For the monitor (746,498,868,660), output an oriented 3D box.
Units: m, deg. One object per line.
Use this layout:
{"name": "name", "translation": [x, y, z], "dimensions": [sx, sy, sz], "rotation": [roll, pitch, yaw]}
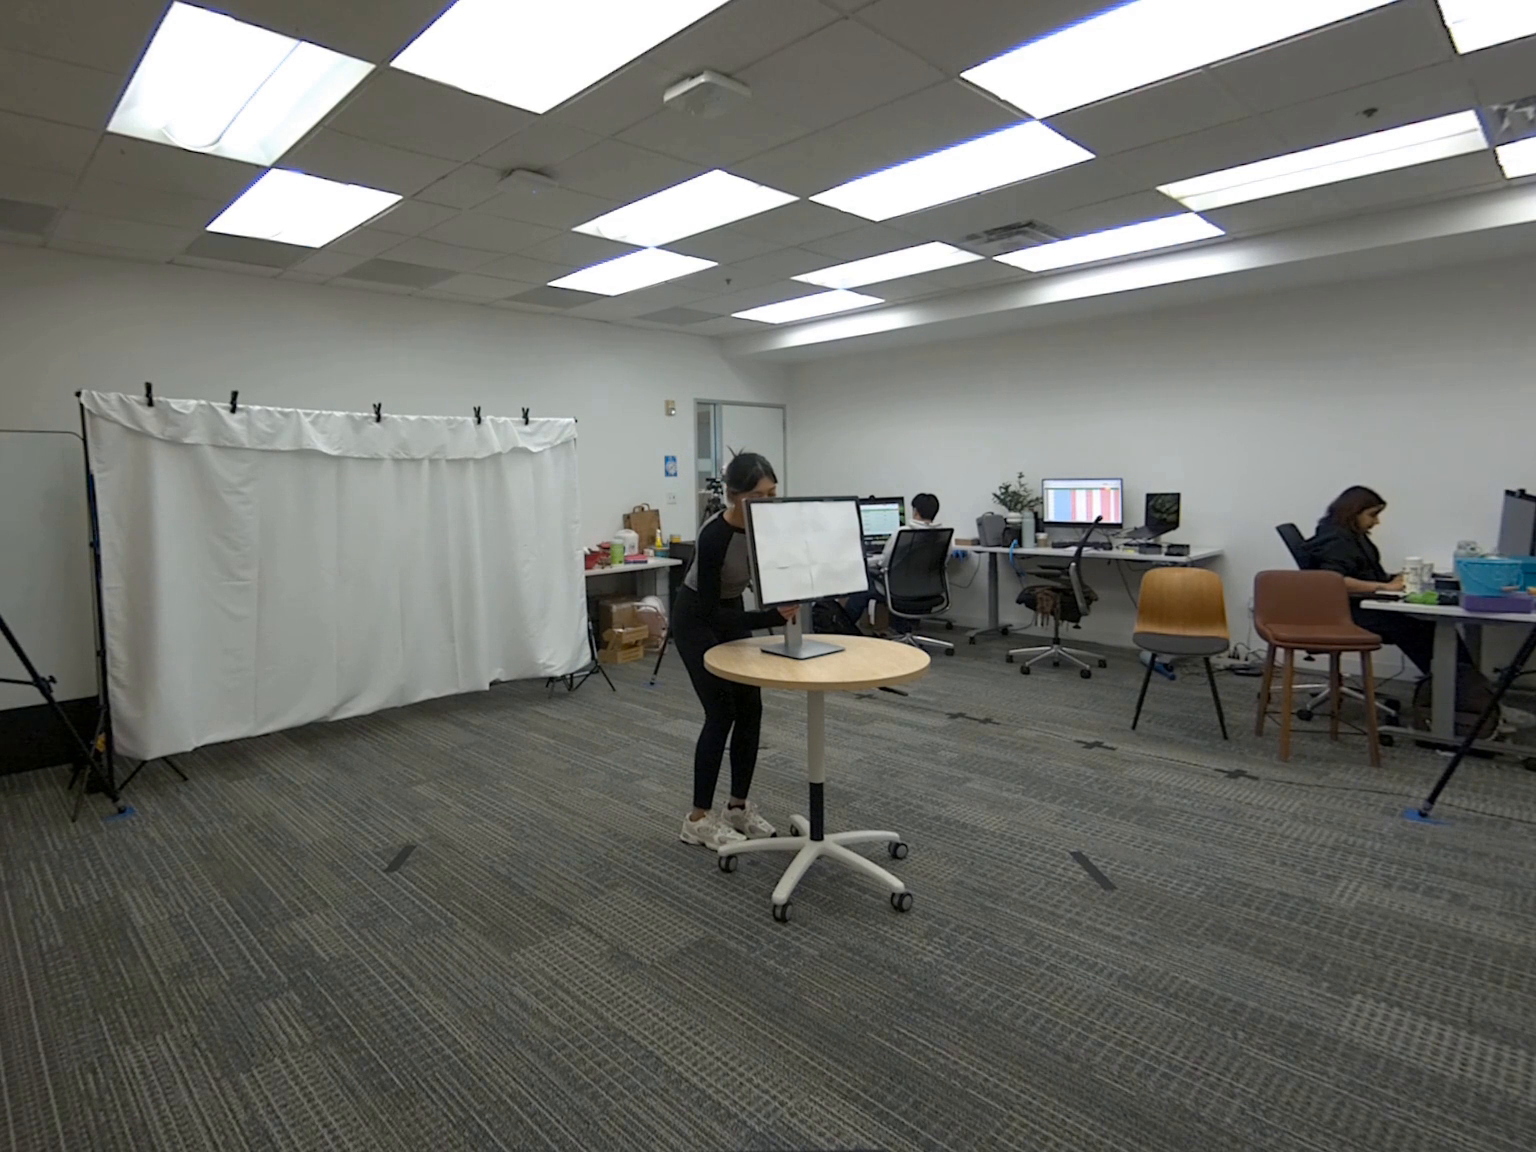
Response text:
{"name": "monitor", "translation": [0.124, 0.000, 2.979], "dimensions": [0.525, 0.520, 0.193], "rotation": [-5, 8, -43]}
